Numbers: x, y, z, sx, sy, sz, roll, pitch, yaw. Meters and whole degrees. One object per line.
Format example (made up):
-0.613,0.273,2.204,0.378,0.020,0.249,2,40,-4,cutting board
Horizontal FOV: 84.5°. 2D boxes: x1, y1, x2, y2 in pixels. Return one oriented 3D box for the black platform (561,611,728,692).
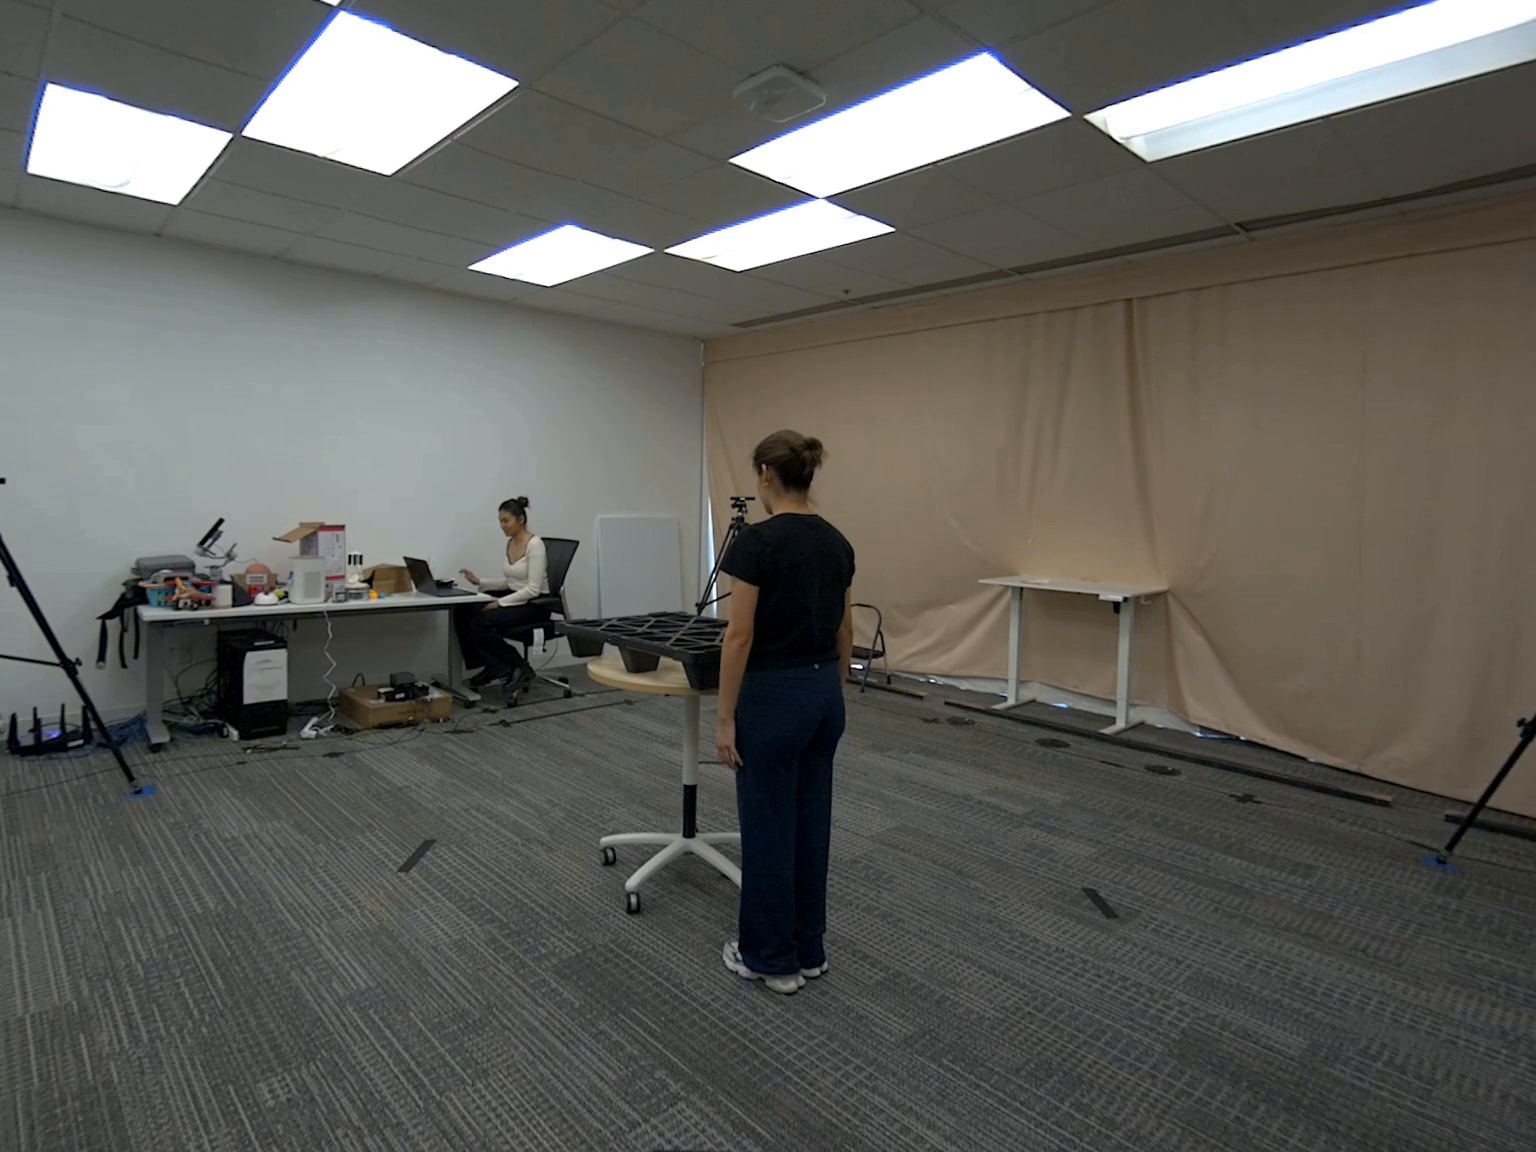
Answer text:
-0.315,0.263,3.045,0.591,0.143,0.826,-4,7,-45,black platform
